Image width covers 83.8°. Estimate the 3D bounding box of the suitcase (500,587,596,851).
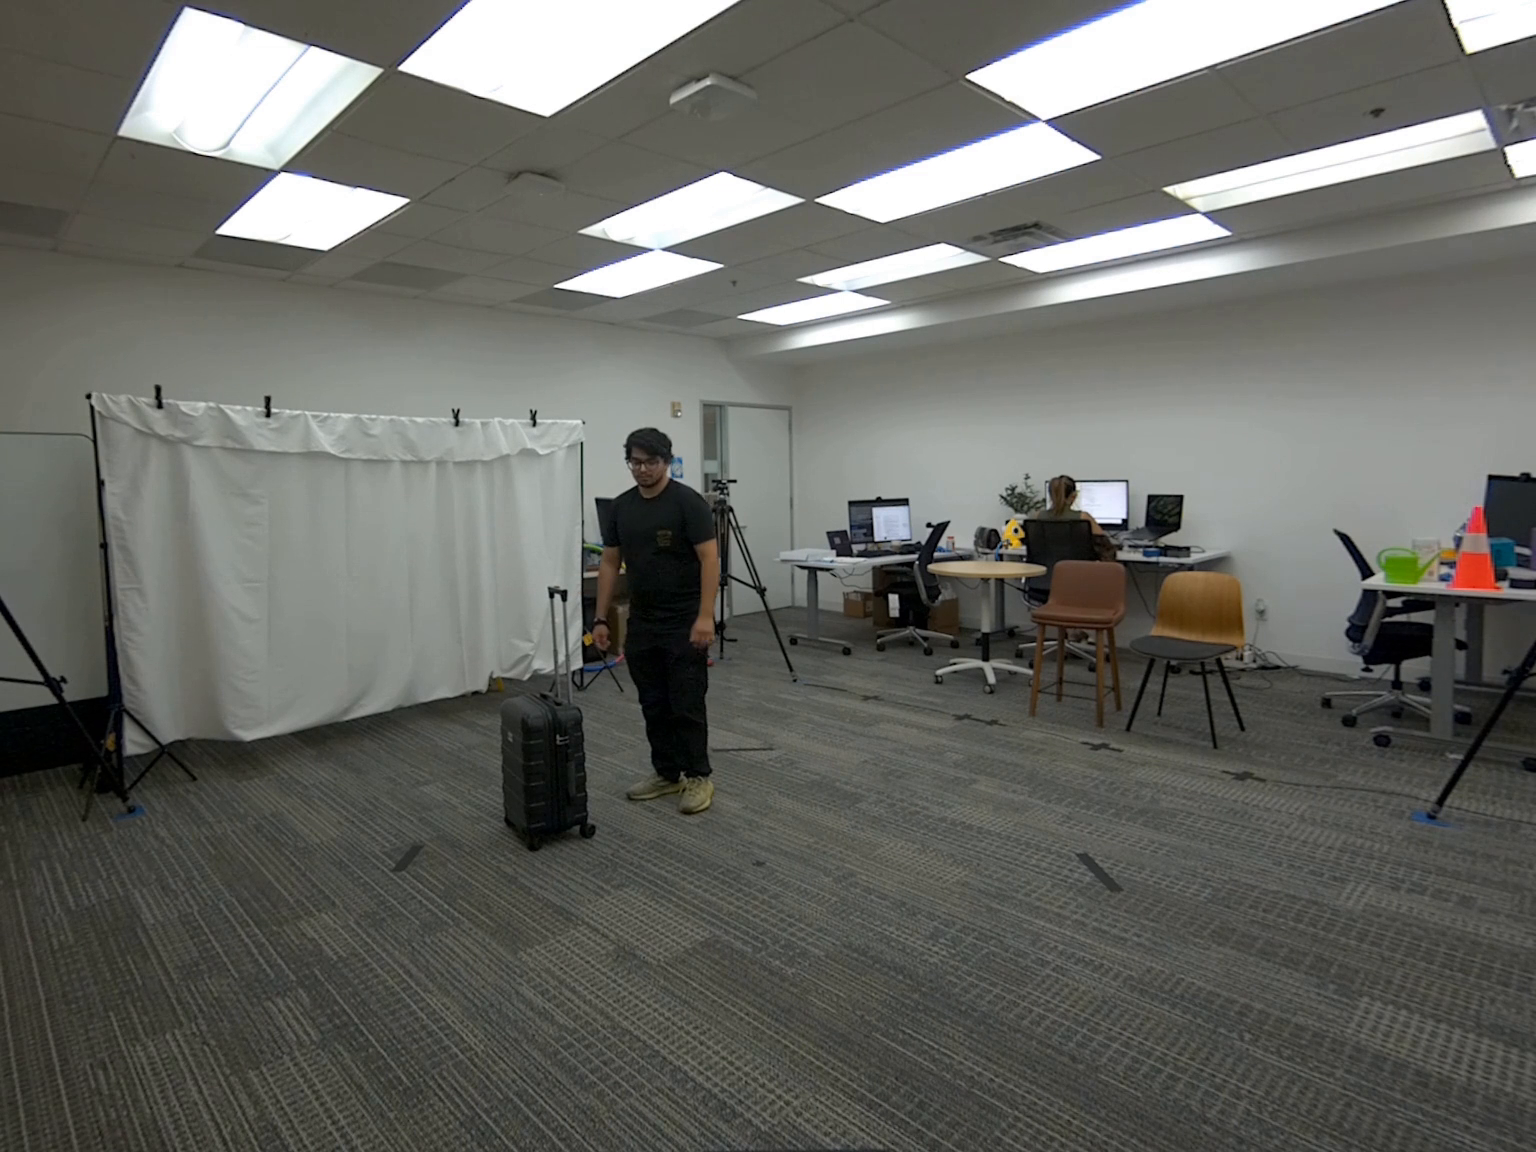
[{"bbox_3d":[-0.912,0.555,3.396,0.251,0.974,0.394,-6,6,-30],"label":"suitcase"}]
